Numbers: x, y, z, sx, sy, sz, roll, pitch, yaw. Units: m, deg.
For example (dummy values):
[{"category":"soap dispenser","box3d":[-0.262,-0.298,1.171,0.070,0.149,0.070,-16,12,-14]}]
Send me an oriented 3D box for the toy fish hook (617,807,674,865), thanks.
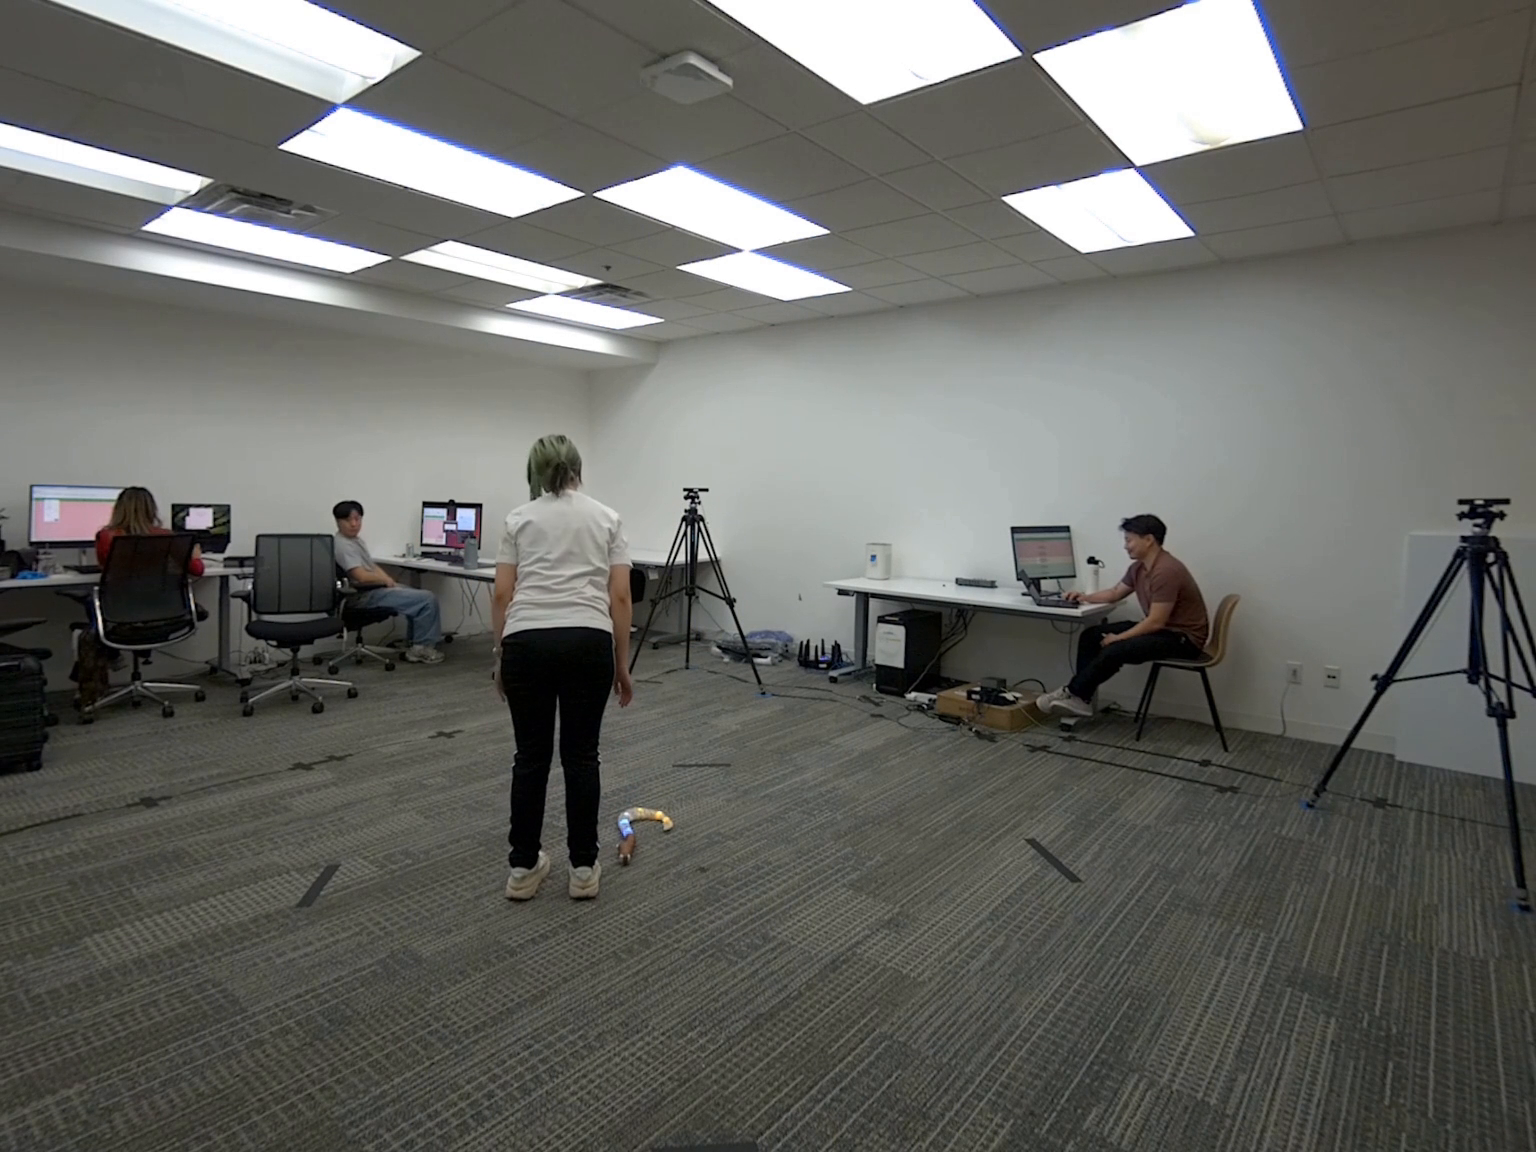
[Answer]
[{"category":"toy fish hook","box3d":[-0.502,1.015,3.365,0.224,0.048,0.510,-1,6,-3]}]
